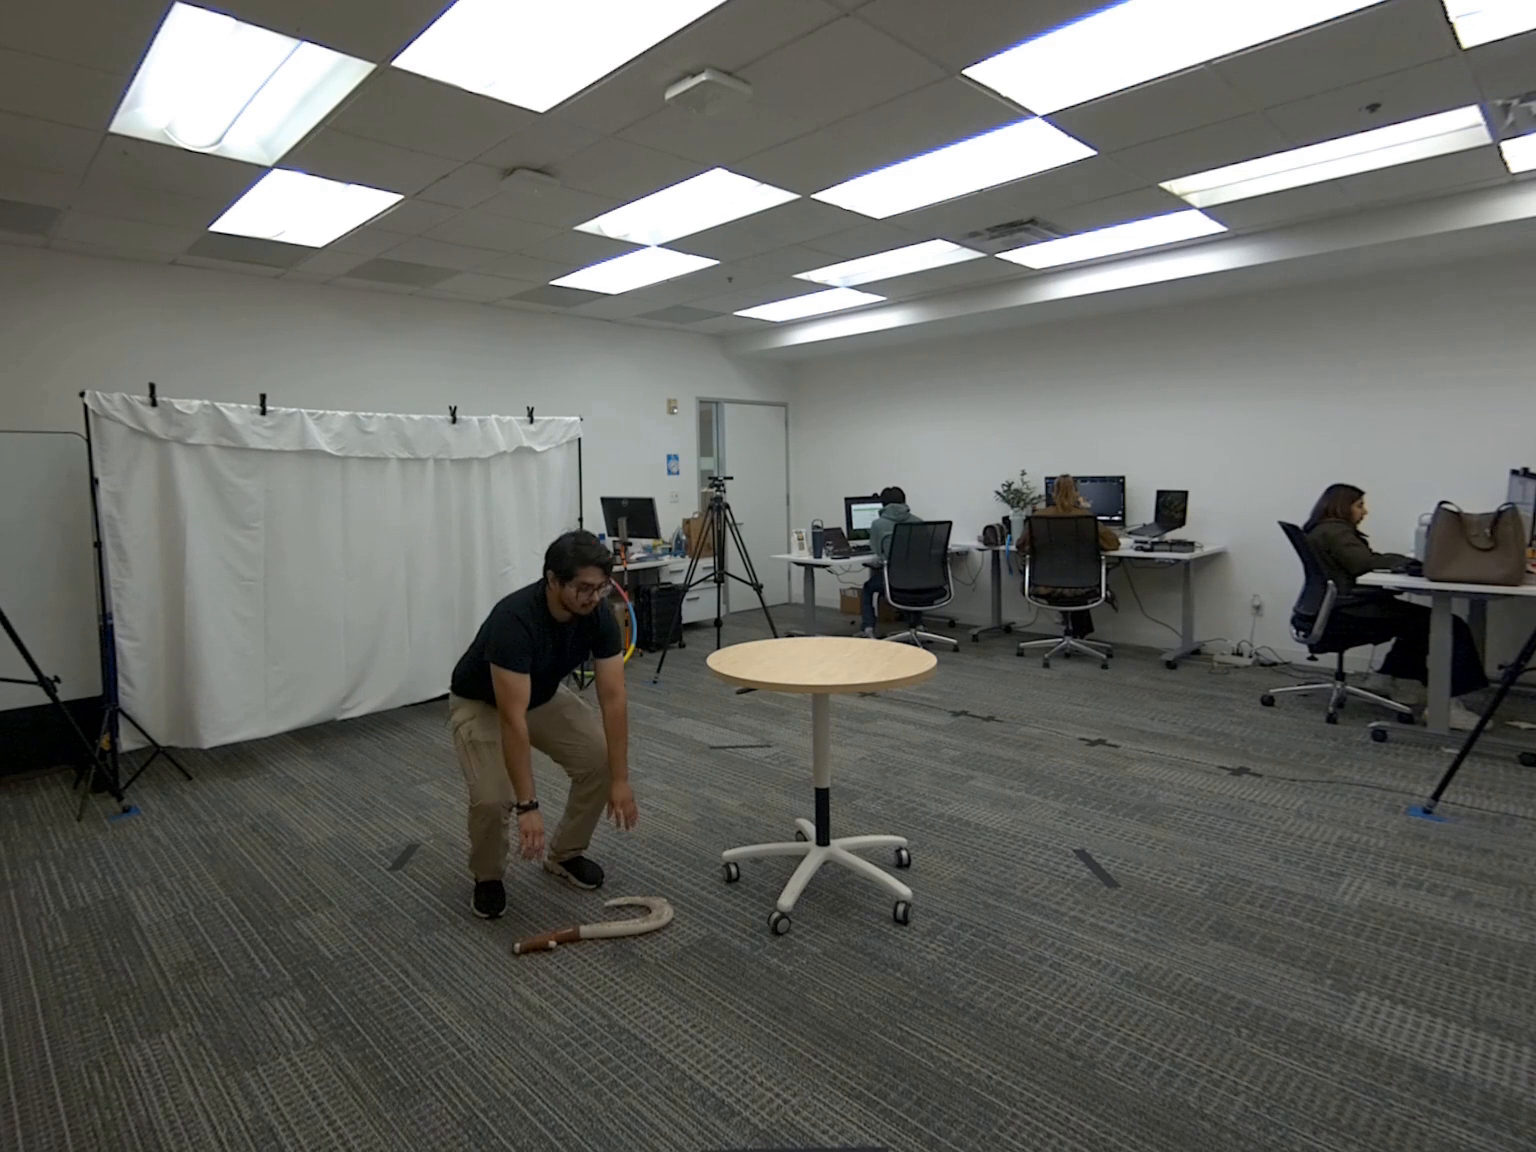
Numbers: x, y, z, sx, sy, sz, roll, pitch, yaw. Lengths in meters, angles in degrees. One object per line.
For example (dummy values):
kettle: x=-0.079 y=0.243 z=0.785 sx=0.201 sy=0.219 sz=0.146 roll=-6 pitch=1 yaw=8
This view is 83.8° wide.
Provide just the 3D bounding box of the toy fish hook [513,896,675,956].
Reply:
toy fish hook: x=-0.544 y=1.086 z=2.668 sx=0.497 sy=0.048 sz=0.228 roll=-3 pitch=0 yaw=-22
